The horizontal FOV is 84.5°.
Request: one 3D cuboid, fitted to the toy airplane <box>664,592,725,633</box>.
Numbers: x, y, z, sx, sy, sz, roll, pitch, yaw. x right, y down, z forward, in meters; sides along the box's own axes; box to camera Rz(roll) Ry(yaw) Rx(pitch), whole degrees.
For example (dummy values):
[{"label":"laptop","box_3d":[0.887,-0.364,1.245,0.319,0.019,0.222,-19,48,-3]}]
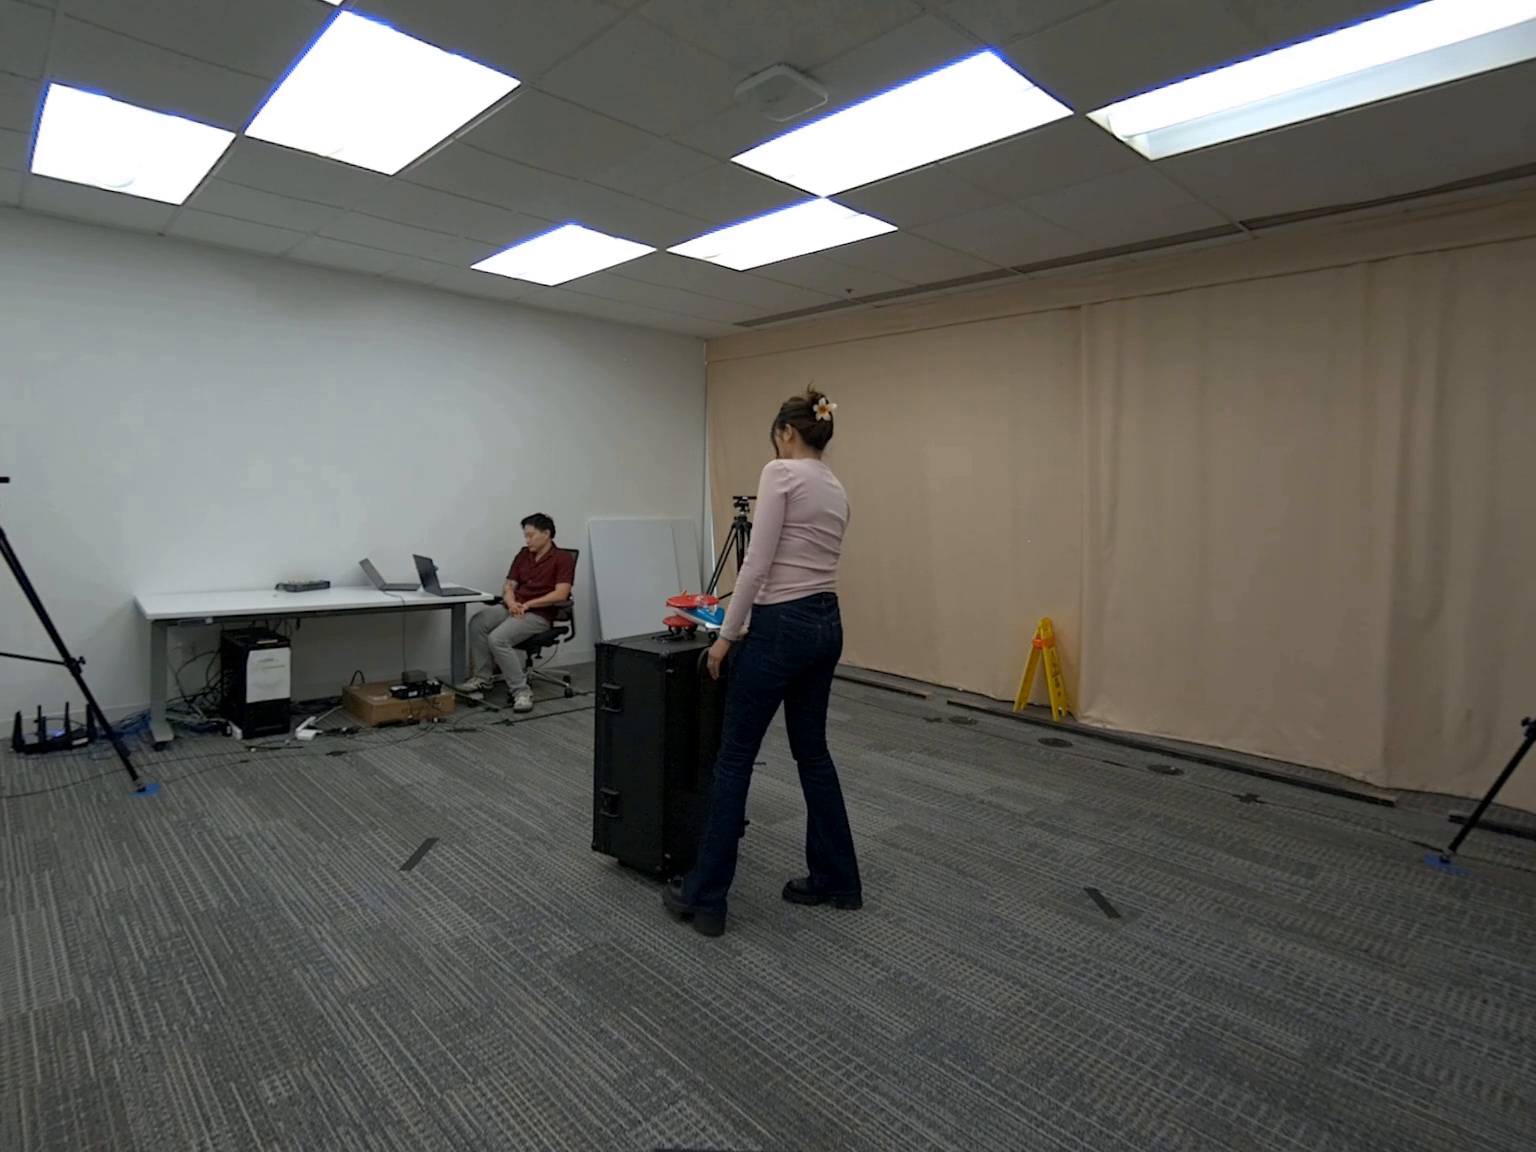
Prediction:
[{"label":"toy airplane","box_3d":[-0.280,0.158,3.272,0.262,0.156,0.249,1,5,13]}]
